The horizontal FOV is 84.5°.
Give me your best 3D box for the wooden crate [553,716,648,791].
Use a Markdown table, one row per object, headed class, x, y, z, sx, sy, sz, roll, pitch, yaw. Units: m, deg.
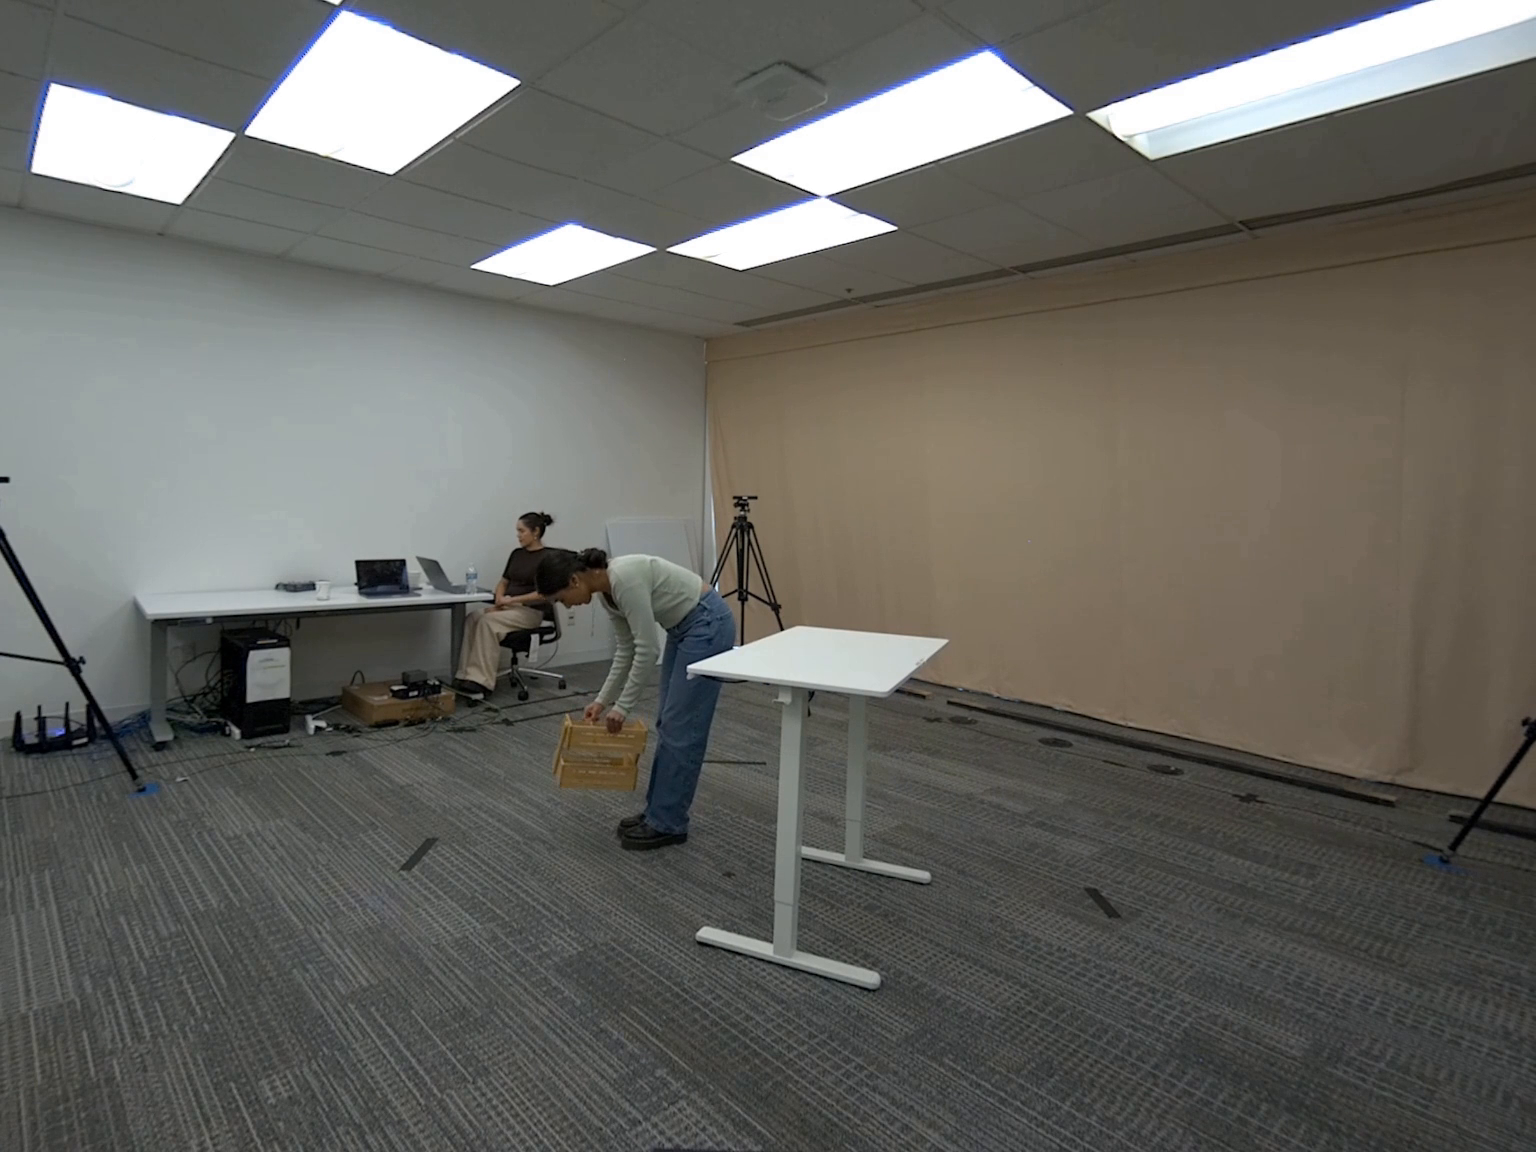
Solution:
| class | x | y | z | sx | sy | sz | roll | pitch | yaw |
| --- | --- | --- | --- | --- | --- | --- | --- | --- | --- |
| wooden crate | -0.681 | 0.682 | 3.354 | 0.319 | 0.272 | 0.308 | 8 | 5 | -20 |
